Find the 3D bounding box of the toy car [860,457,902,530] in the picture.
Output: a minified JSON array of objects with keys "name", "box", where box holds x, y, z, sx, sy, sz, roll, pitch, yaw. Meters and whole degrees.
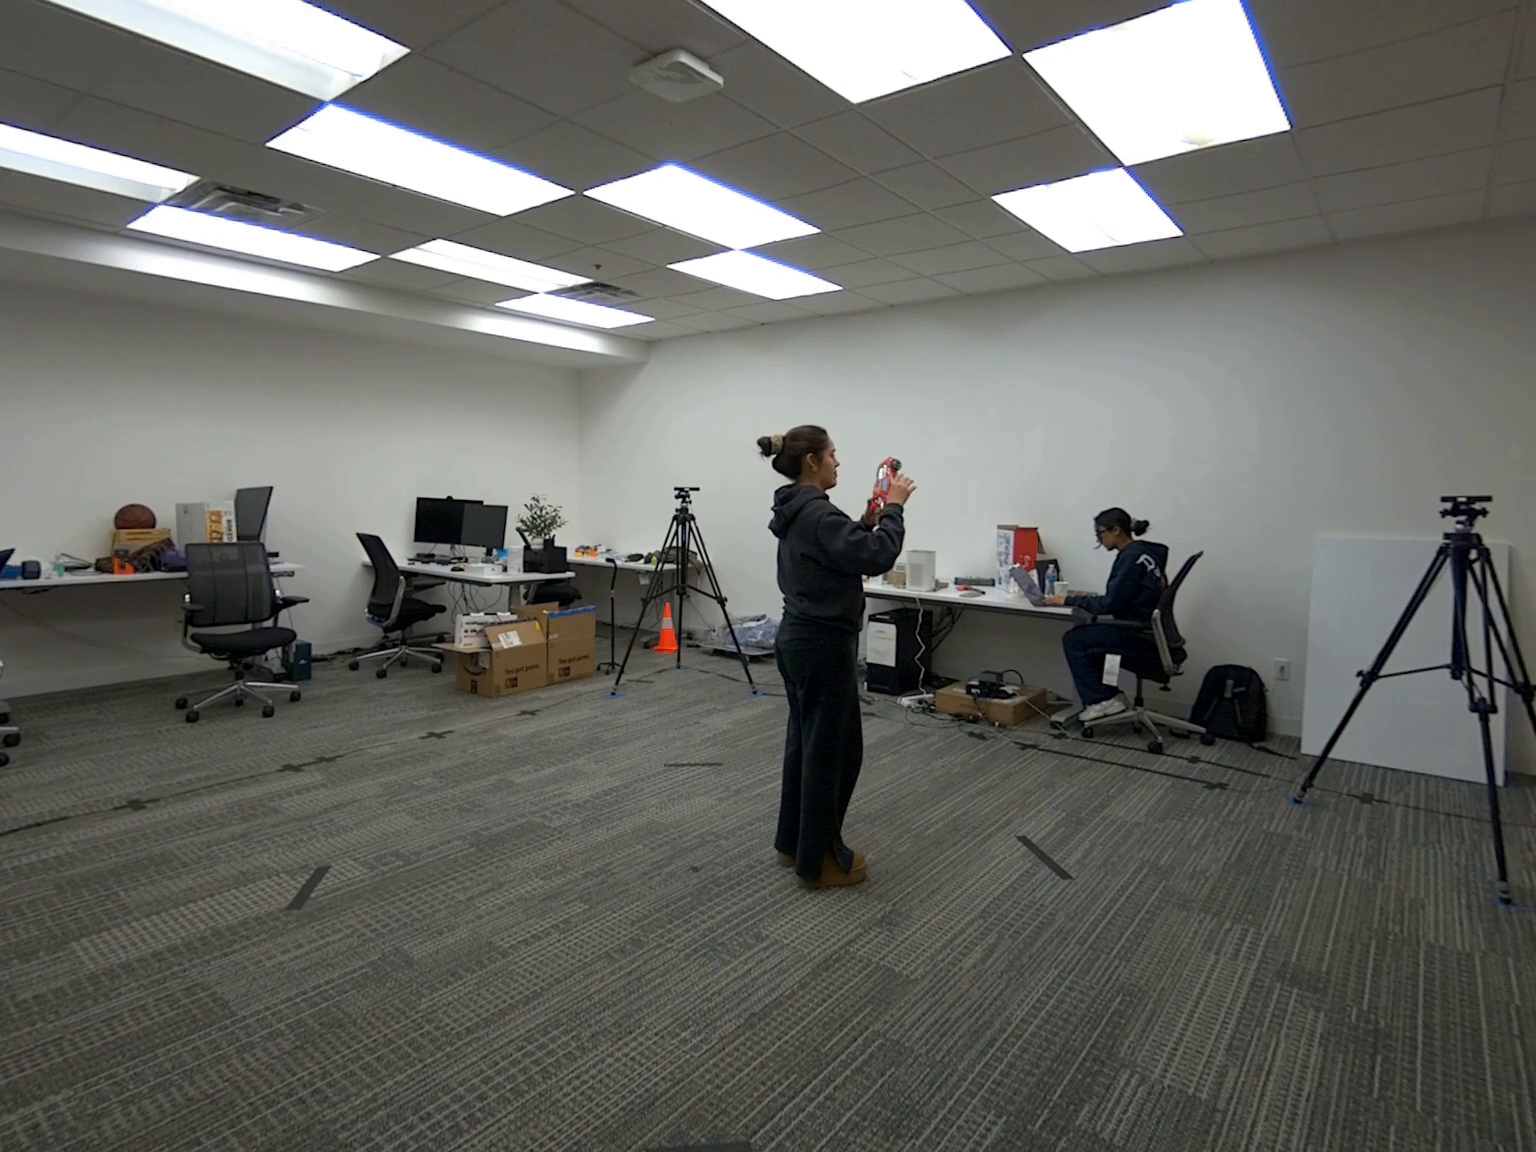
[{"name":"toy car","box":[0.430,-0.300,3.066,0.082,0.258,0.131,23,-26,-15]}]
